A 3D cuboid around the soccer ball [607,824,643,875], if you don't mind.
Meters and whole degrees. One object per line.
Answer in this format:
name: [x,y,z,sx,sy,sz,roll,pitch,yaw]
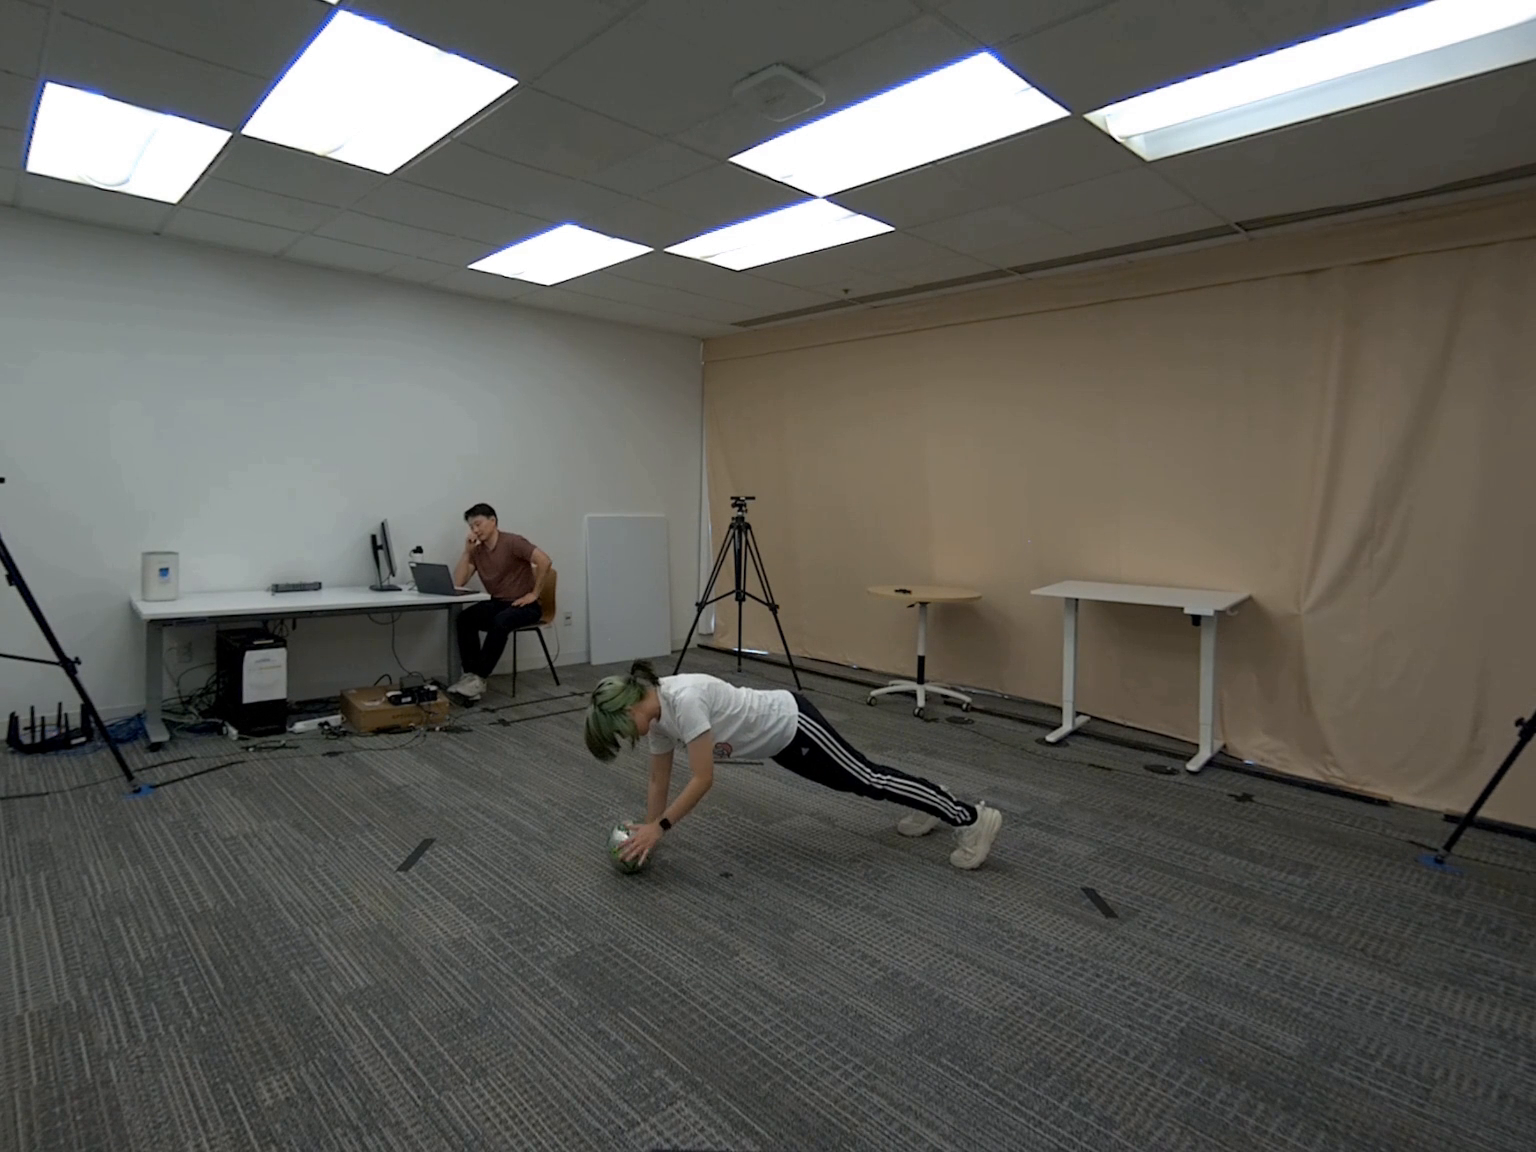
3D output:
soccer ball: [-0.510,1.002,3.124,0.187,0.187,0.188,1,4,-1]
